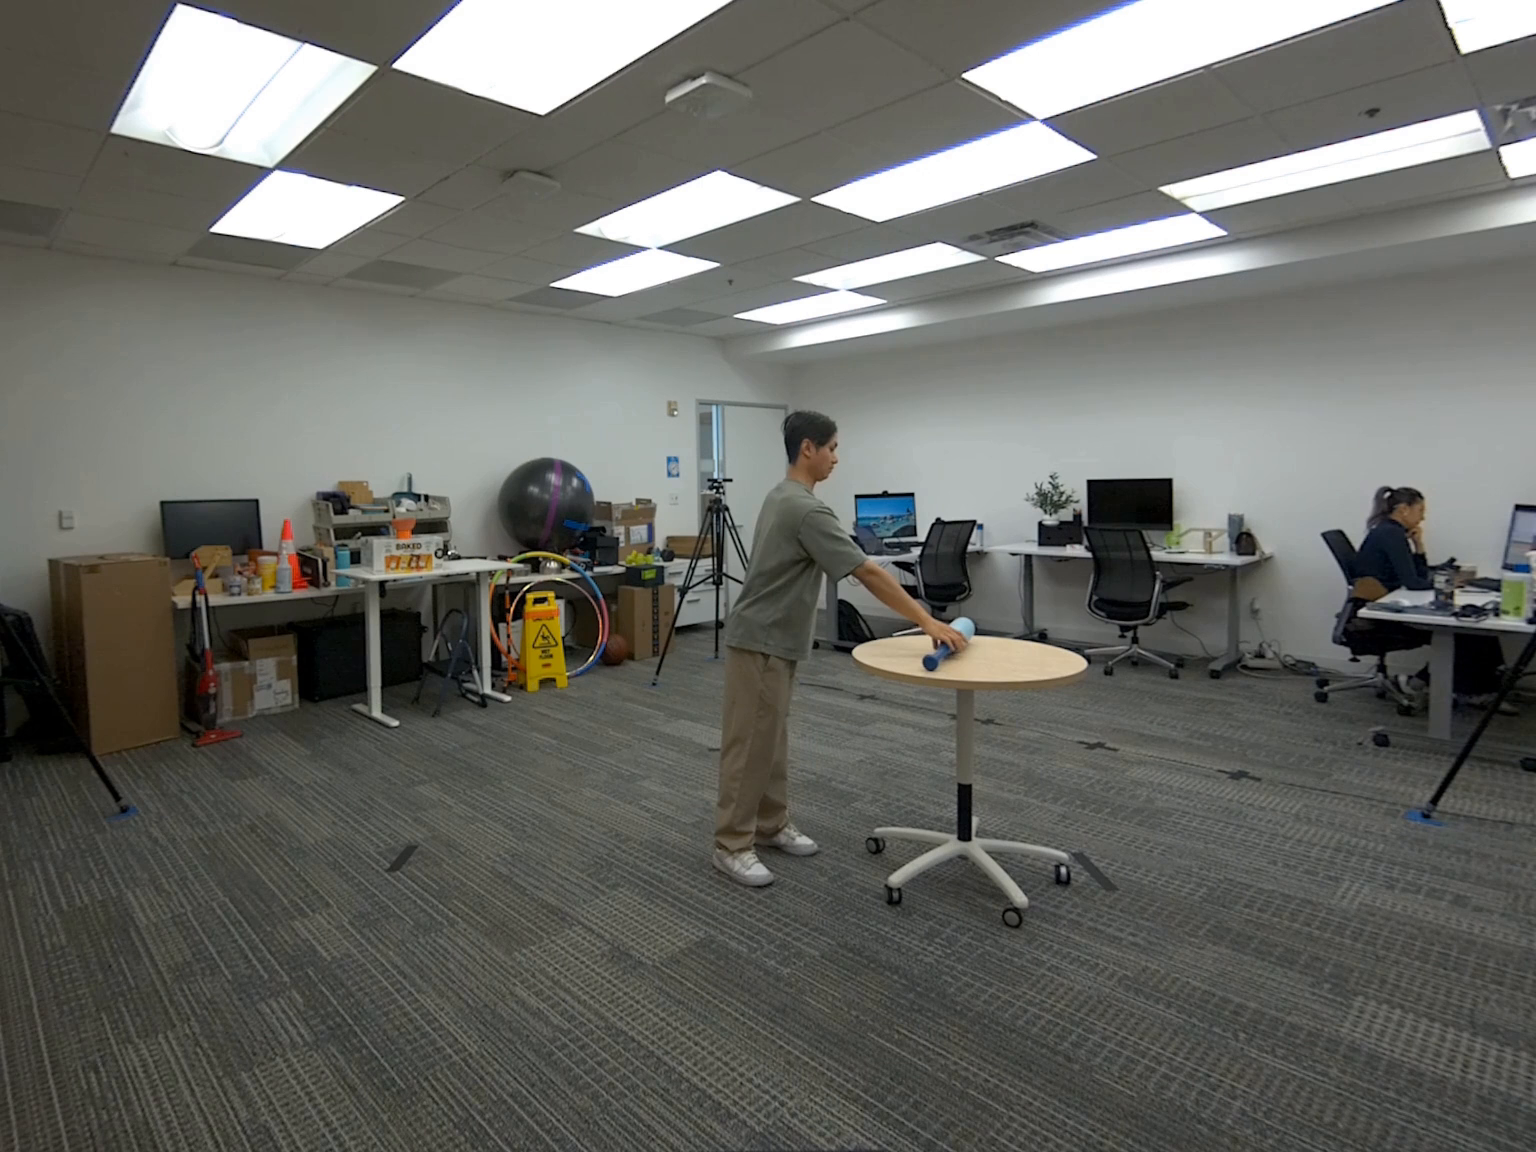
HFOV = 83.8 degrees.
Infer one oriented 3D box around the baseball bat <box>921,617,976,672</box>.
[{"bbox_3d":[0.613,0.236,2.904,0.091,0.088,0.535,1,10,24],"label":"baseball bat"}]
